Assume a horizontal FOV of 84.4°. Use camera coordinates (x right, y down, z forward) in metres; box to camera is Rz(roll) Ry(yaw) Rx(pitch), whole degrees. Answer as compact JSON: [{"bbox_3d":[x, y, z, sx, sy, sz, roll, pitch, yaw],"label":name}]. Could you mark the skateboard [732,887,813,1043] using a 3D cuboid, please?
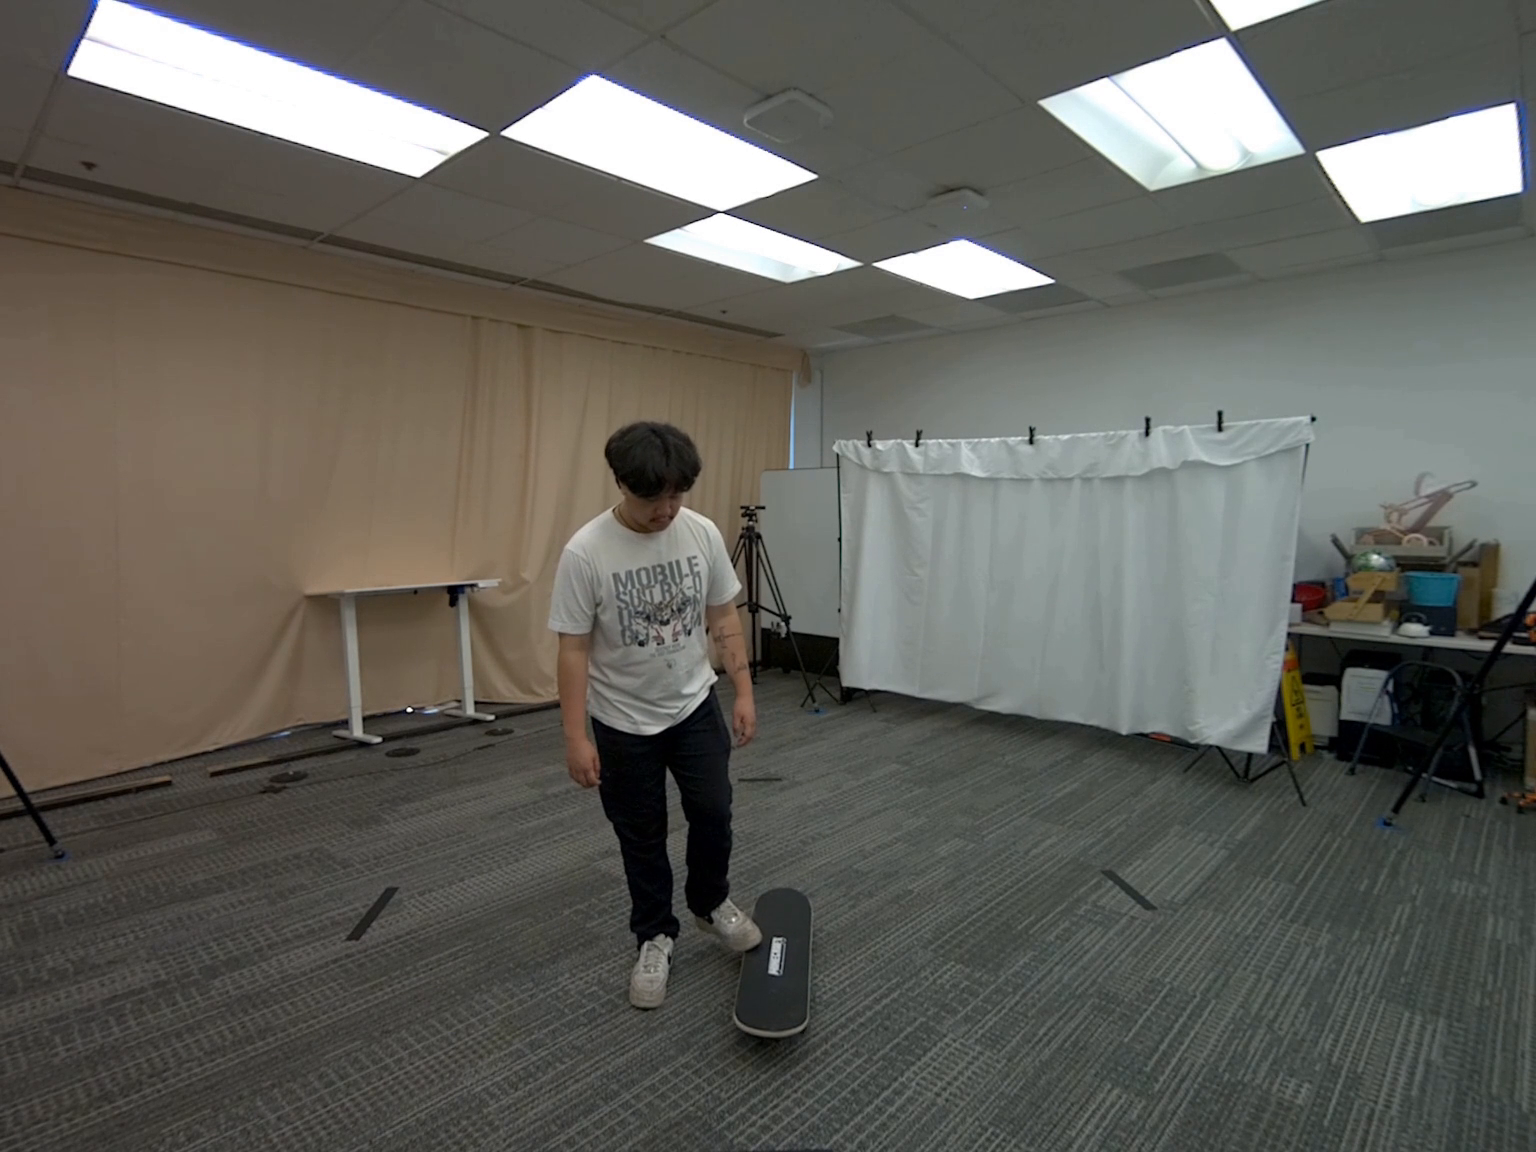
[{"bbox_3d":[0.029,1.129,2.446,0.195,0.110,0.782,1,5,5],"label":"skateboard"}]
